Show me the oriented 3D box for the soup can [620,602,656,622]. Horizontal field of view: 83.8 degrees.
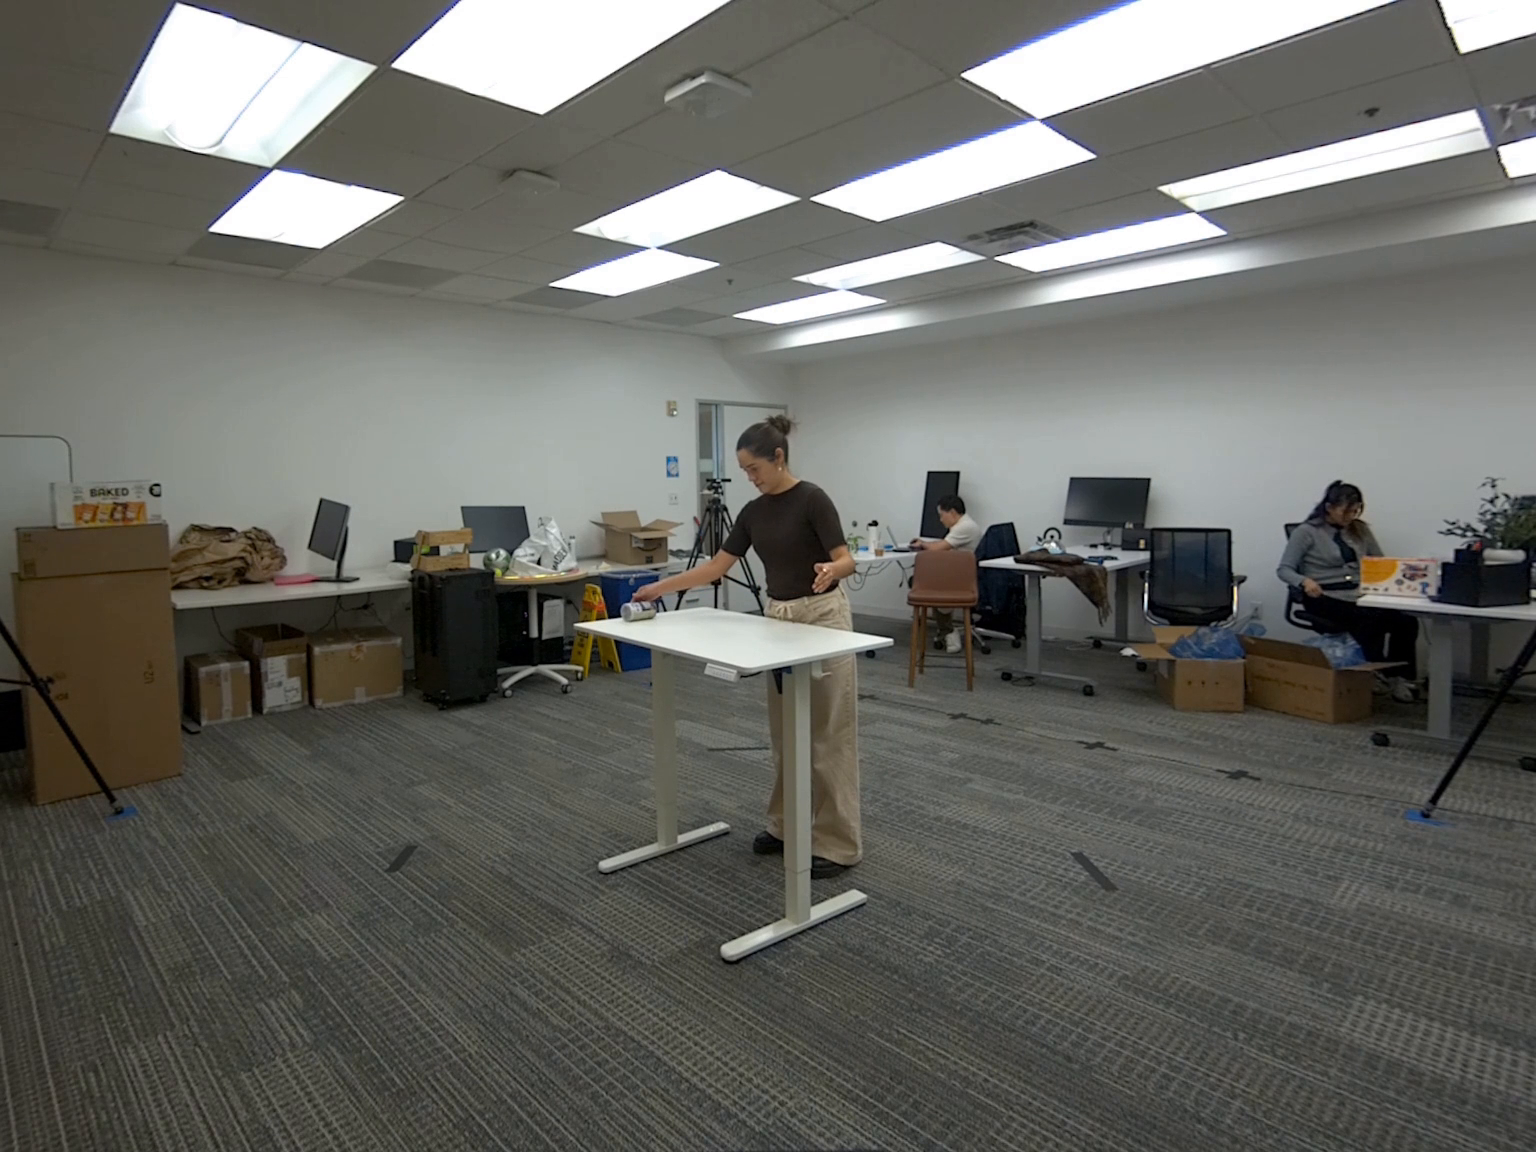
[{"bbox_3d":[-0.474,0.128,3.166,0.118,0.067,0.069,-3,5,-32],"label":"soup can"}]
